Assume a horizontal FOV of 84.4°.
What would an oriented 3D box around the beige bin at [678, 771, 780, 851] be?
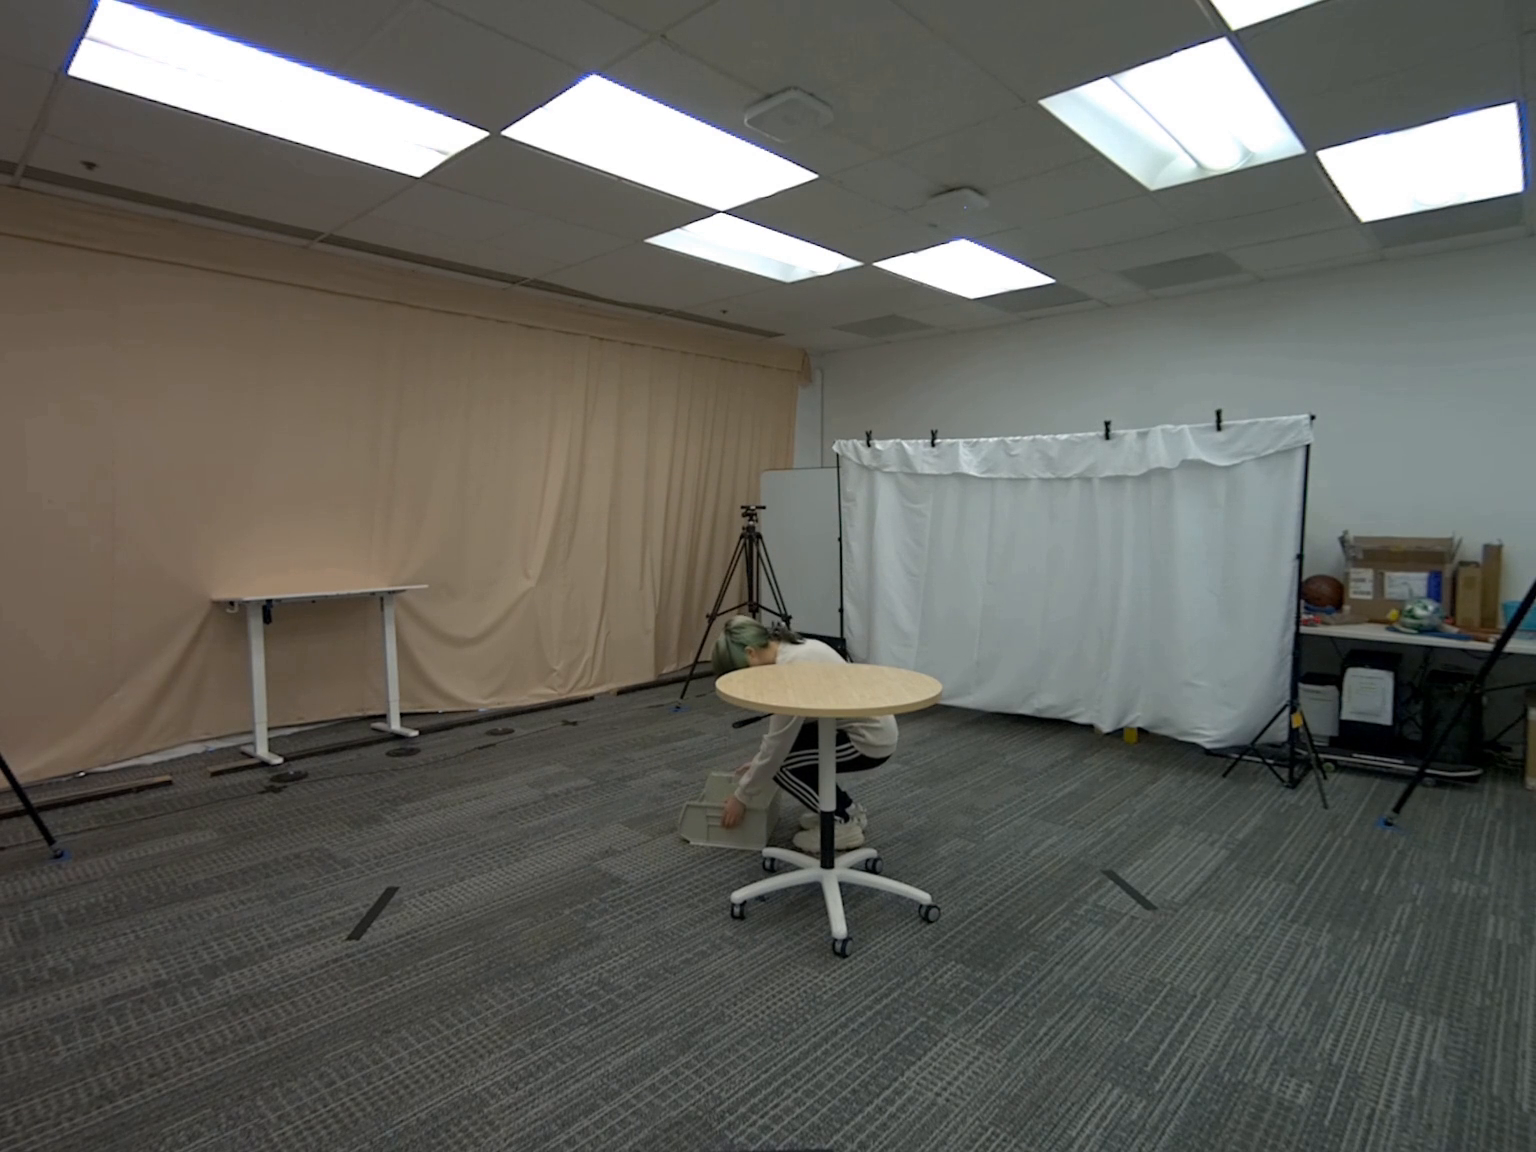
[{"bbox_3d":[-0.150,1.000,3.633,0.383,0.189,0.417,2,3,12],"label":"beige bin"}]
